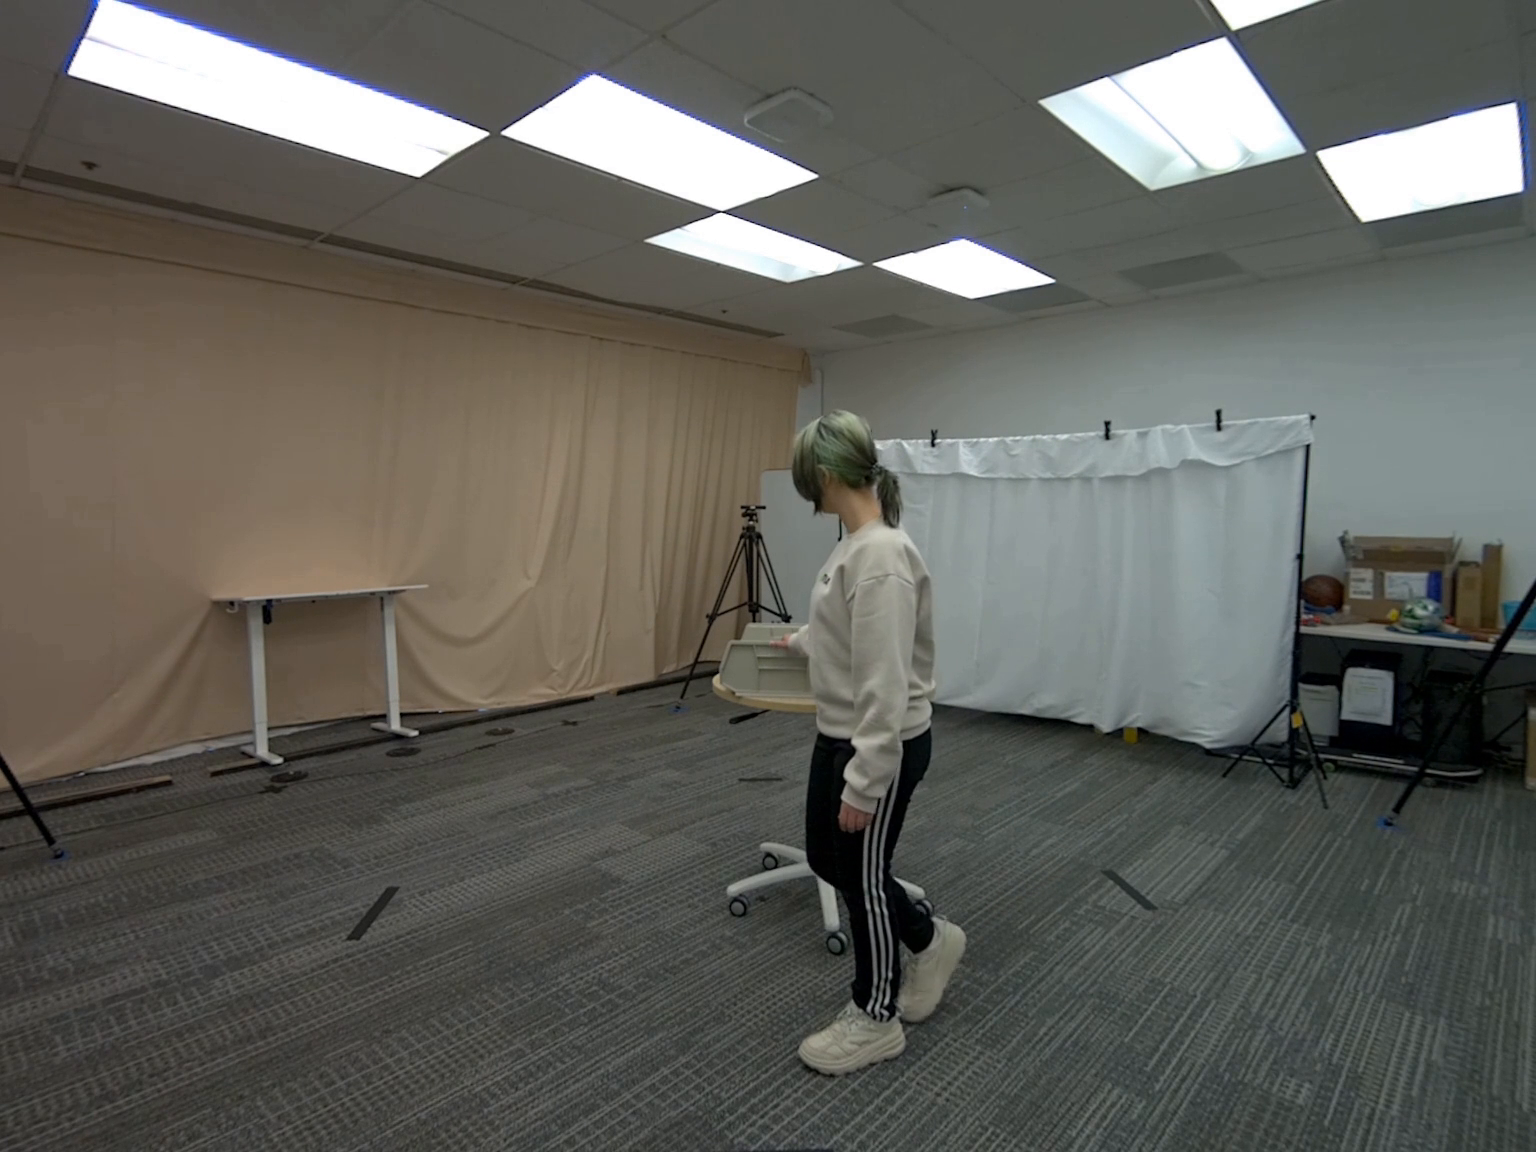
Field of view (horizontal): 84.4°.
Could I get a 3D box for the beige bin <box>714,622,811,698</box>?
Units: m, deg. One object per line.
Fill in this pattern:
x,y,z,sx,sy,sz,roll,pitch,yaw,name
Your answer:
0.064,0.277,2.858,0.381,0.188,0.419,2,4,8,beige bin
